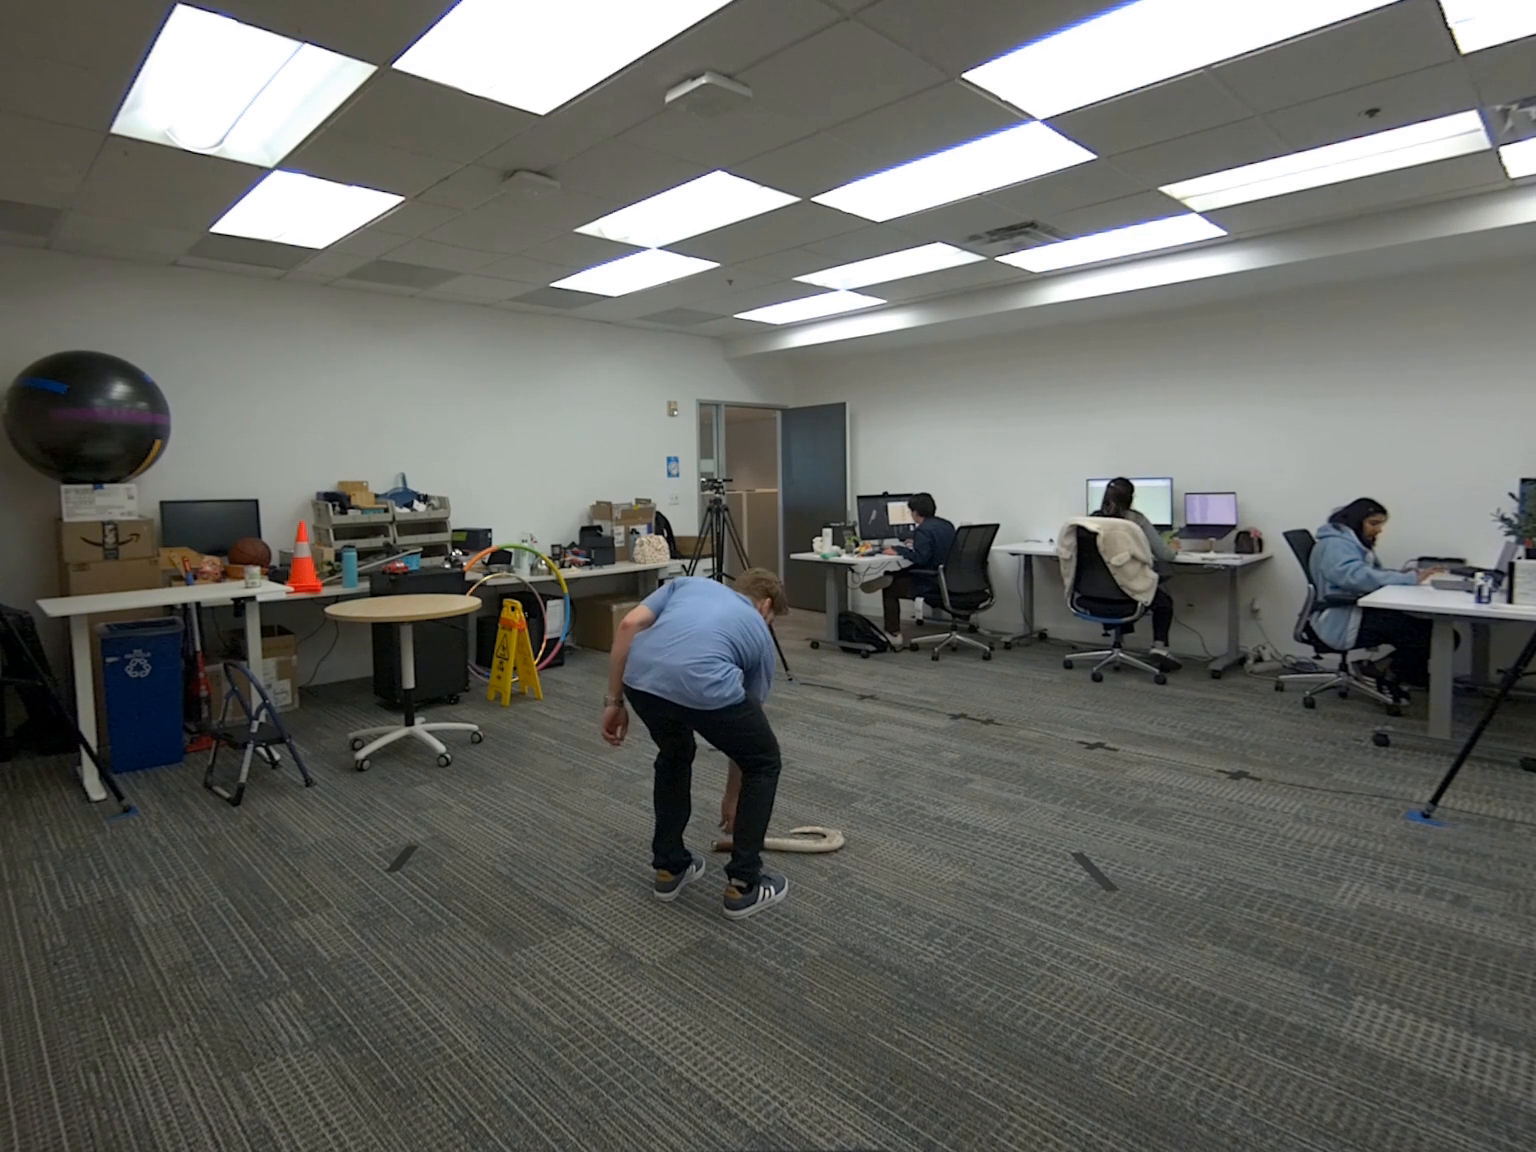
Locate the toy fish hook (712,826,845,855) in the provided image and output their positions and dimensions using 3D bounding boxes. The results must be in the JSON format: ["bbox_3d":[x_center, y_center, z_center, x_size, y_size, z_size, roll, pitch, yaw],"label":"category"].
[{"bbox_3d":[0.037,1.009,3.272,0.506,0.048,0.224,-1,-2,-1],"label":"toy fish hook"}]
